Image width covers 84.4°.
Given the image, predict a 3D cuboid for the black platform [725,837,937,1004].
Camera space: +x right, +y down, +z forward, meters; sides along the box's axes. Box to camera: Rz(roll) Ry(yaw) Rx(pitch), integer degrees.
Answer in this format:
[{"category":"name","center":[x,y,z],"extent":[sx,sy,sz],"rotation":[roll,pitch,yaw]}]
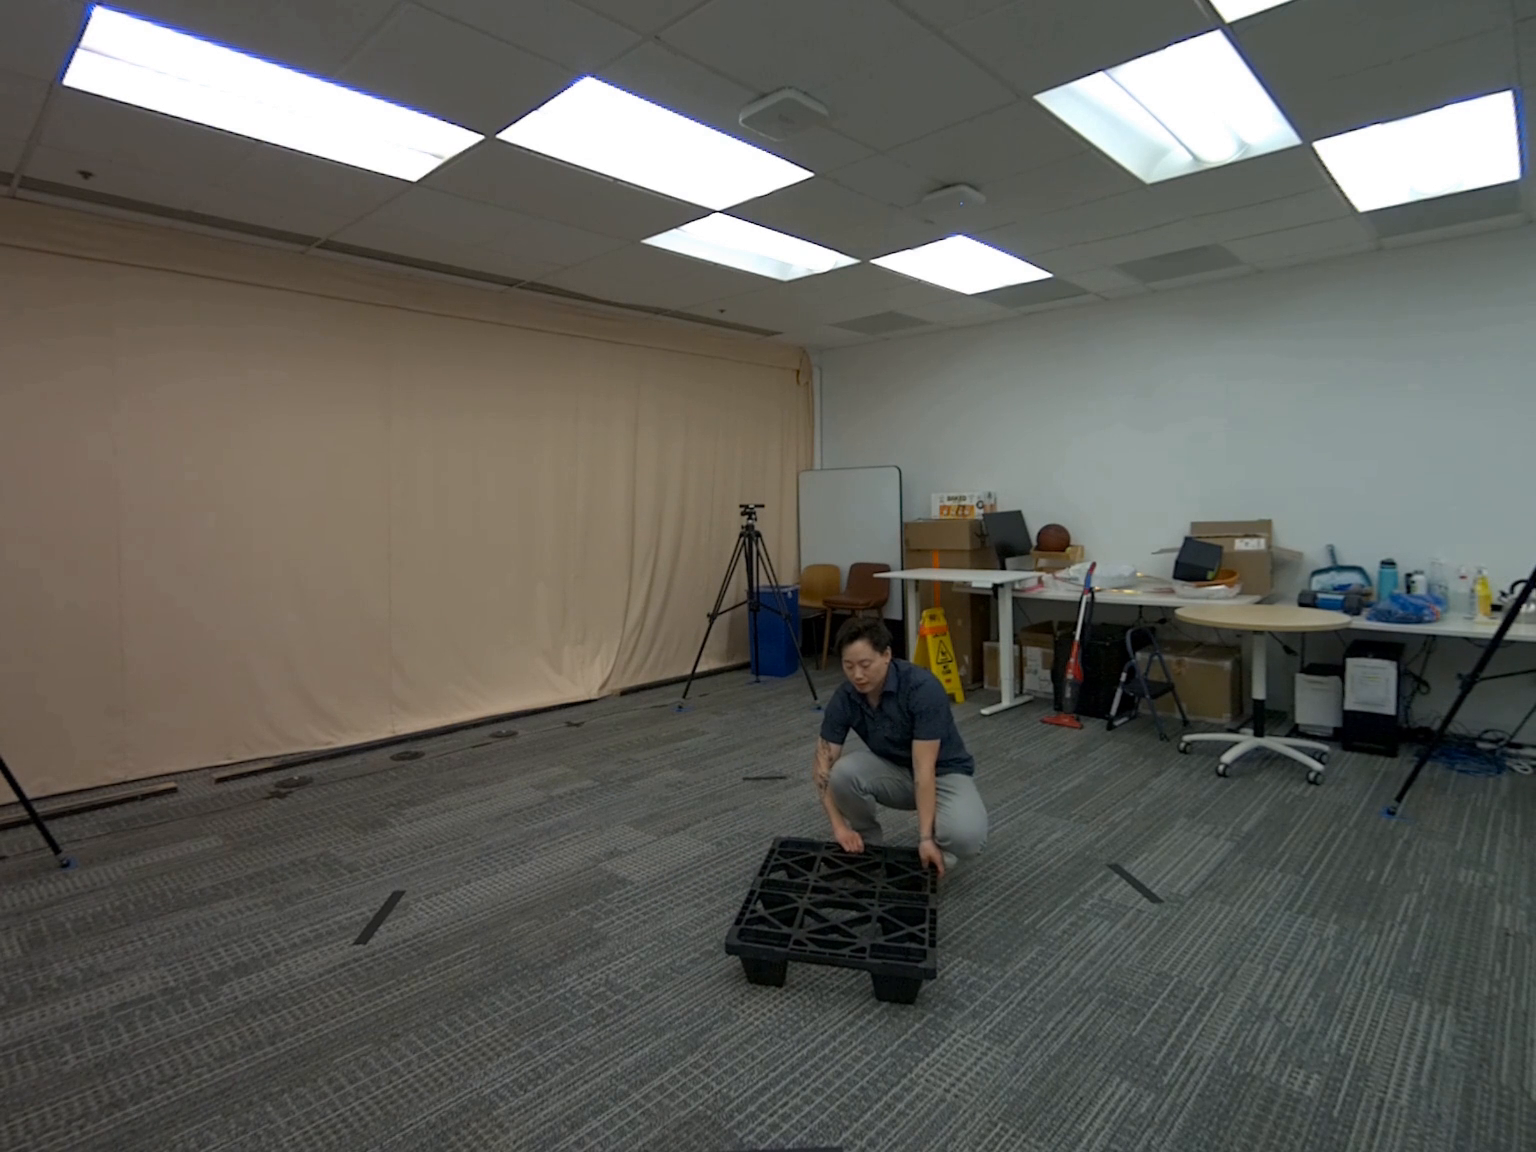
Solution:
[{"category":"black platform","center":[0.246,1.087,2.736],"extent":[0.614,0.143,0.796],"rotation":[1,5,12]}]
